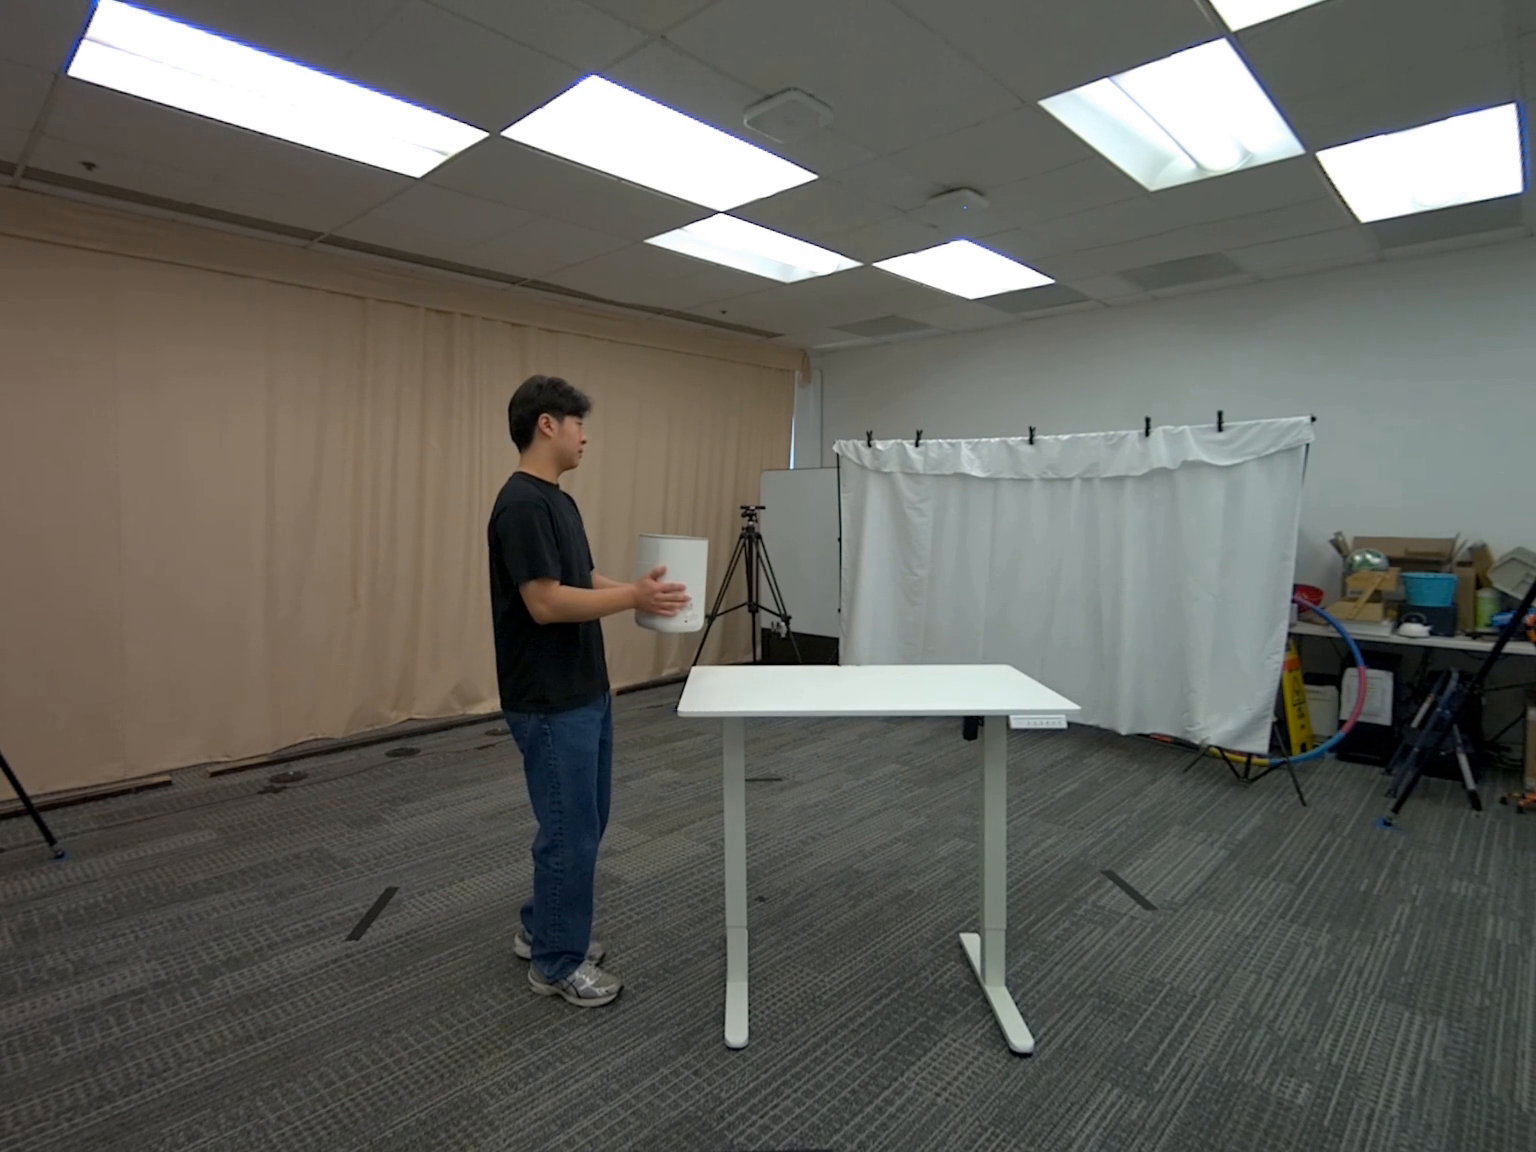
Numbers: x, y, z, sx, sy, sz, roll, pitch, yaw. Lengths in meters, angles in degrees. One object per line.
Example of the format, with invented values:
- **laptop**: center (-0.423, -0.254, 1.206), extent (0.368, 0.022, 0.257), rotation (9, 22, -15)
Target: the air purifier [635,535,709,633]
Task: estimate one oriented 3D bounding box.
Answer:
- **air purifier**: center (-0.283, 0.019, 2.393), extent (0.166, 0.265, 0.177), rotation (2, 3, -37)
